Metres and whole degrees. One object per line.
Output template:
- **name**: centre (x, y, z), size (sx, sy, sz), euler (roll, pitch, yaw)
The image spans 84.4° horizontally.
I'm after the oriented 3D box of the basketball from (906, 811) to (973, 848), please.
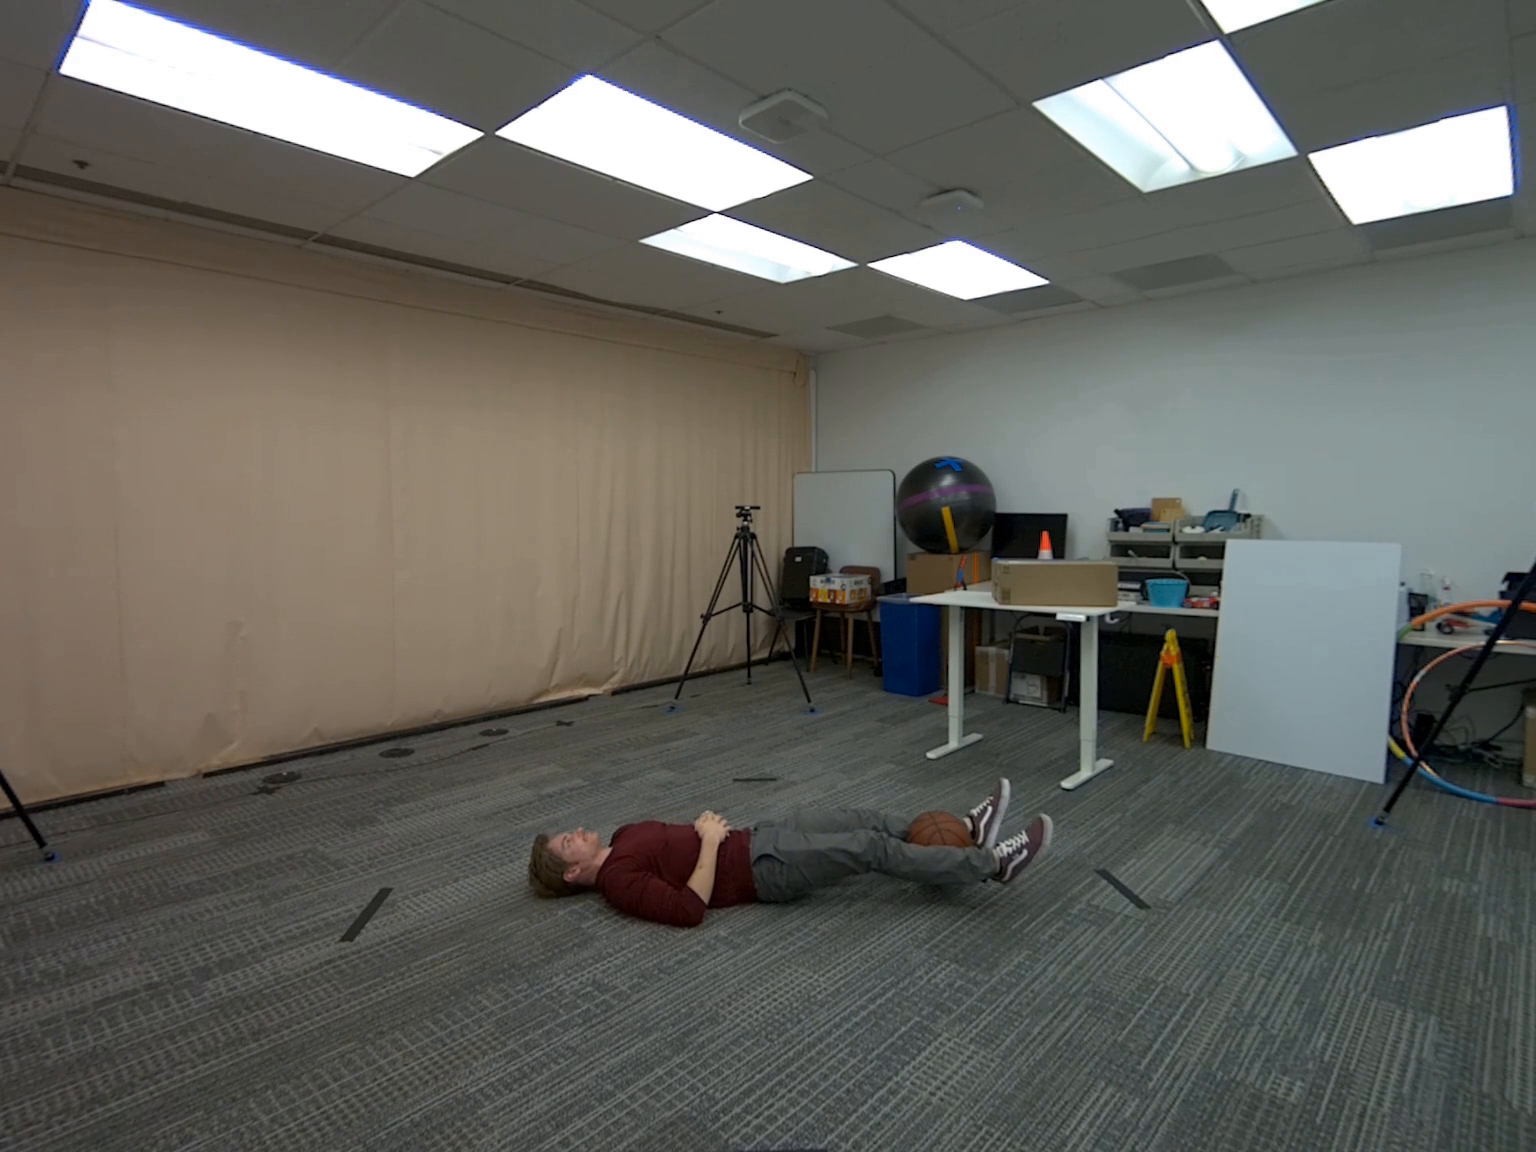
- **basketball**: centre (0.615, 0.960, 3.053), size (0.236, 0.235, 0.237), euler (0, 4, -2)
